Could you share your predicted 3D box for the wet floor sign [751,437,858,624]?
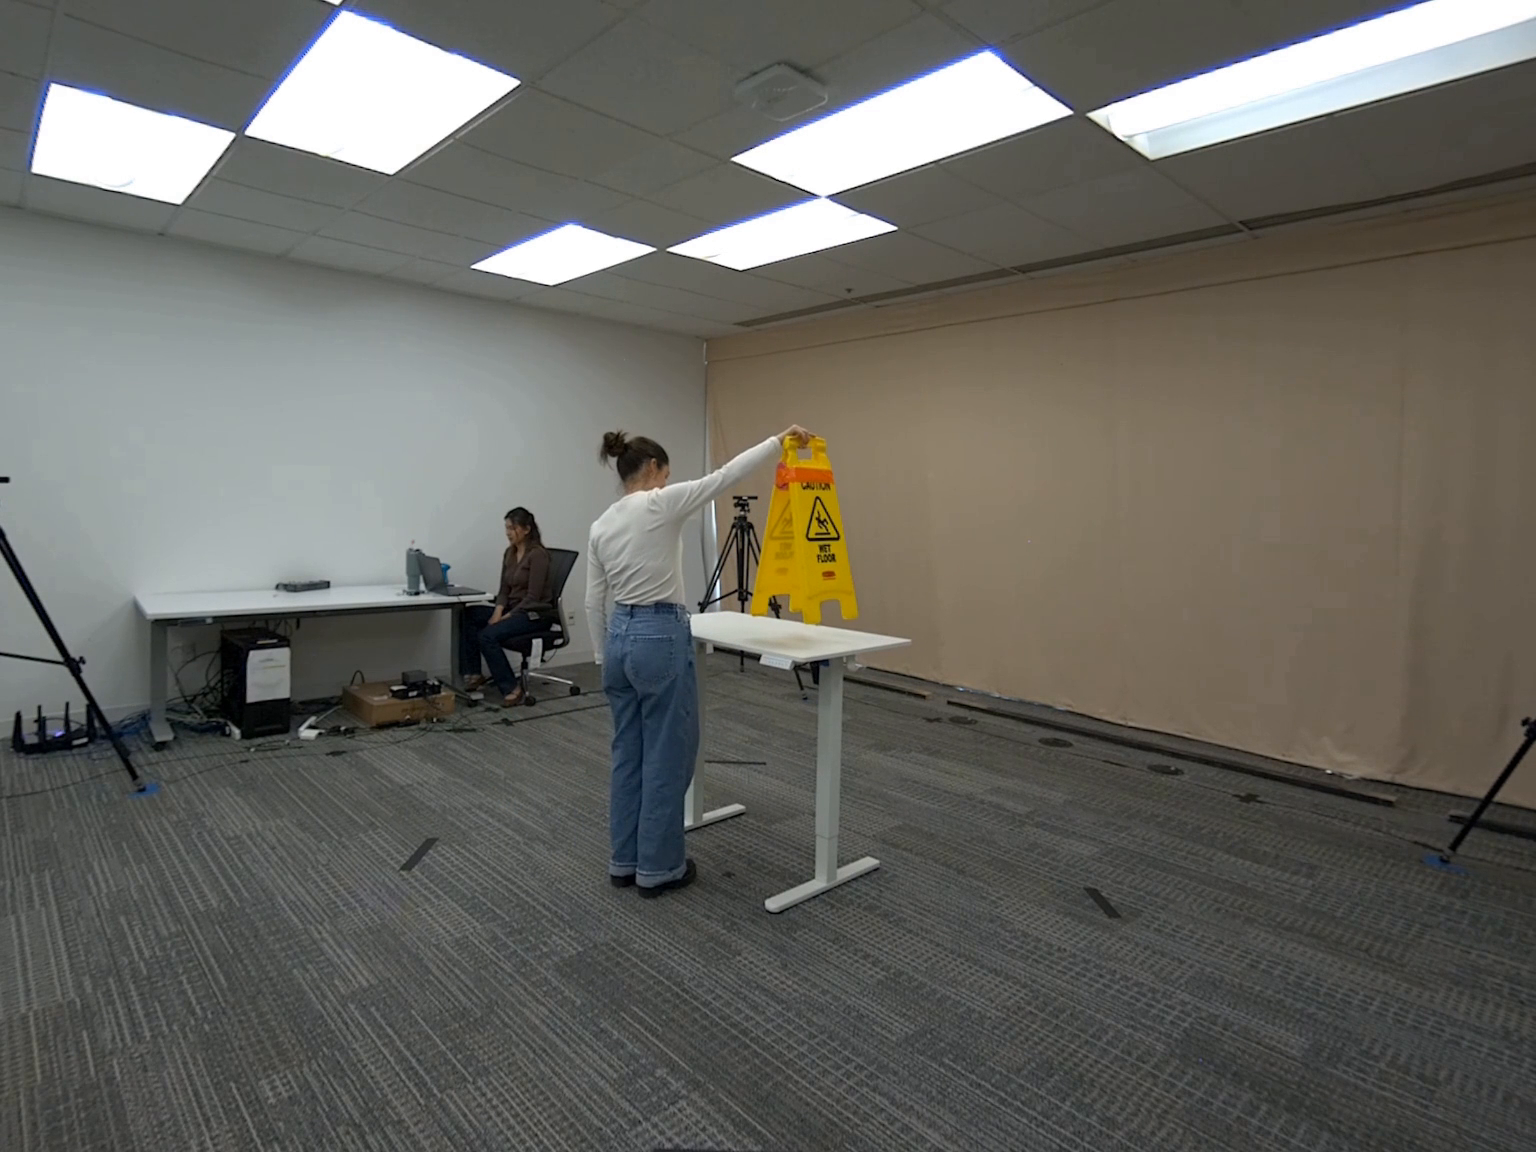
[{"bbox_3d":[0.129,-0.173,3.010,0.276,0.644,0.297,-2,5,-44],"label":"wet floor sign"}]
